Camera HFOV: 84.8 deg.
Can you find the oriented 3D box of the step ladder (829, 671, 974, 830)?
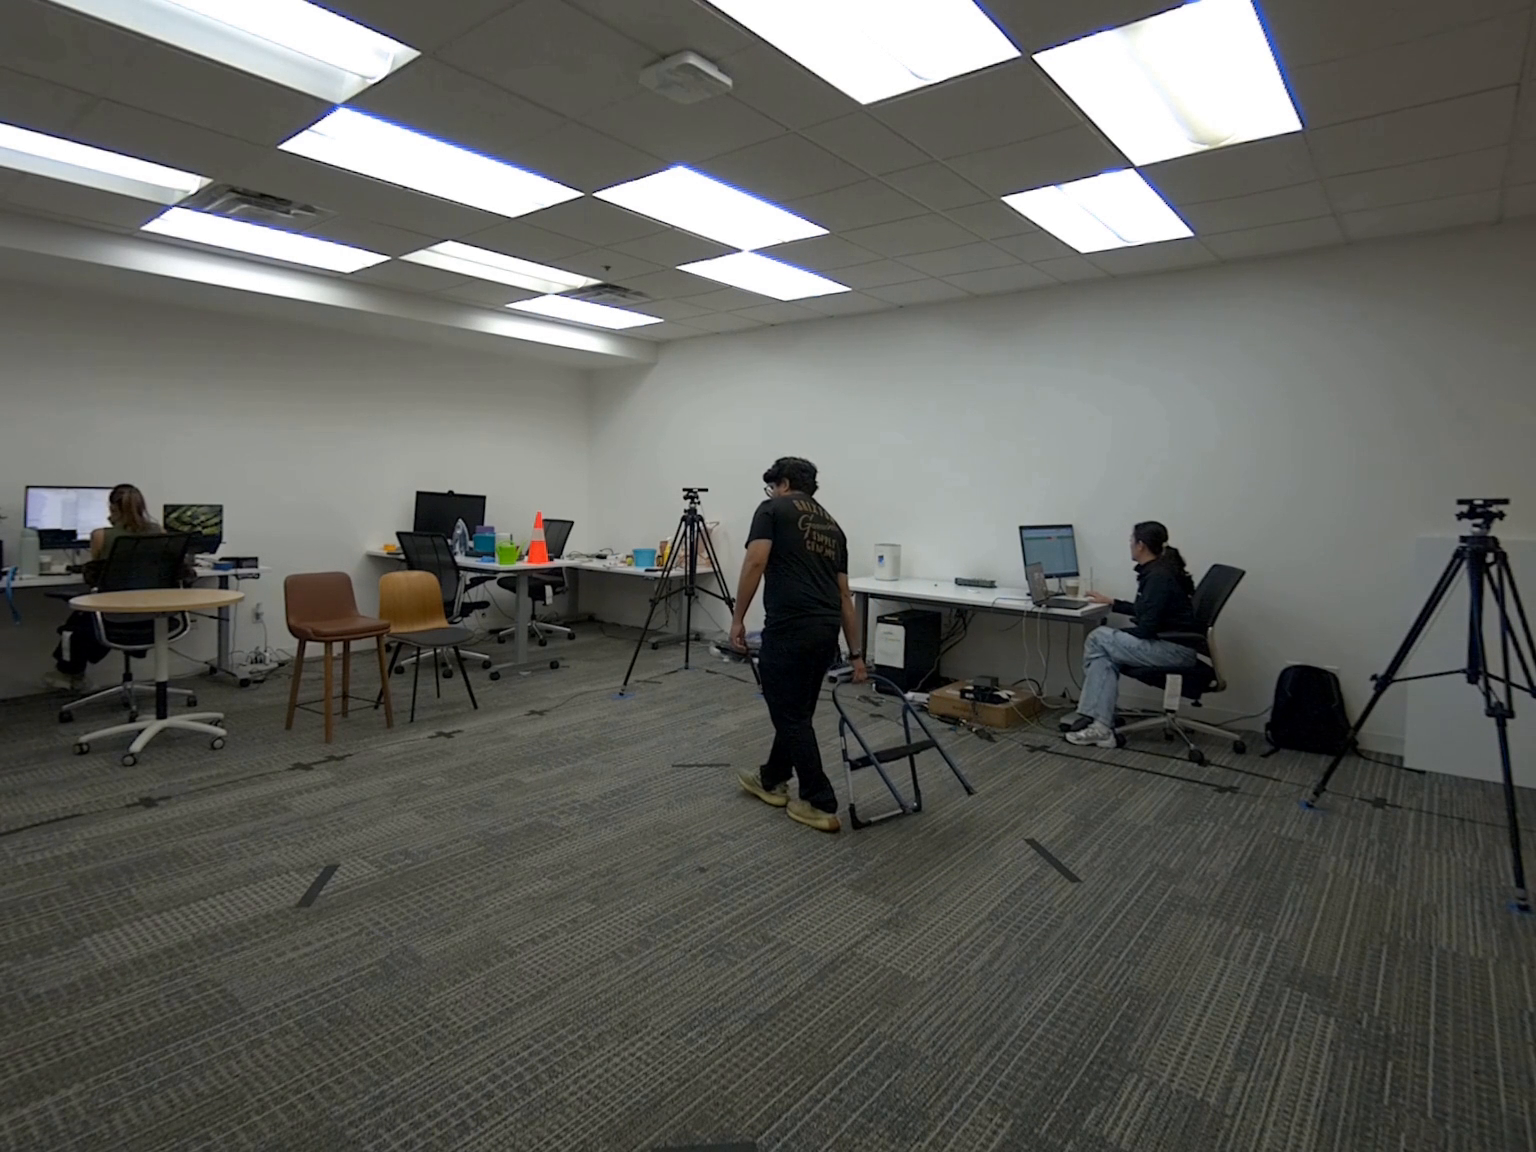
[{"bbox_3d":[0.521,0.696,3.616,0.418,0.621,0.351,-1,-25,-38],"label":"step ladder"}]
